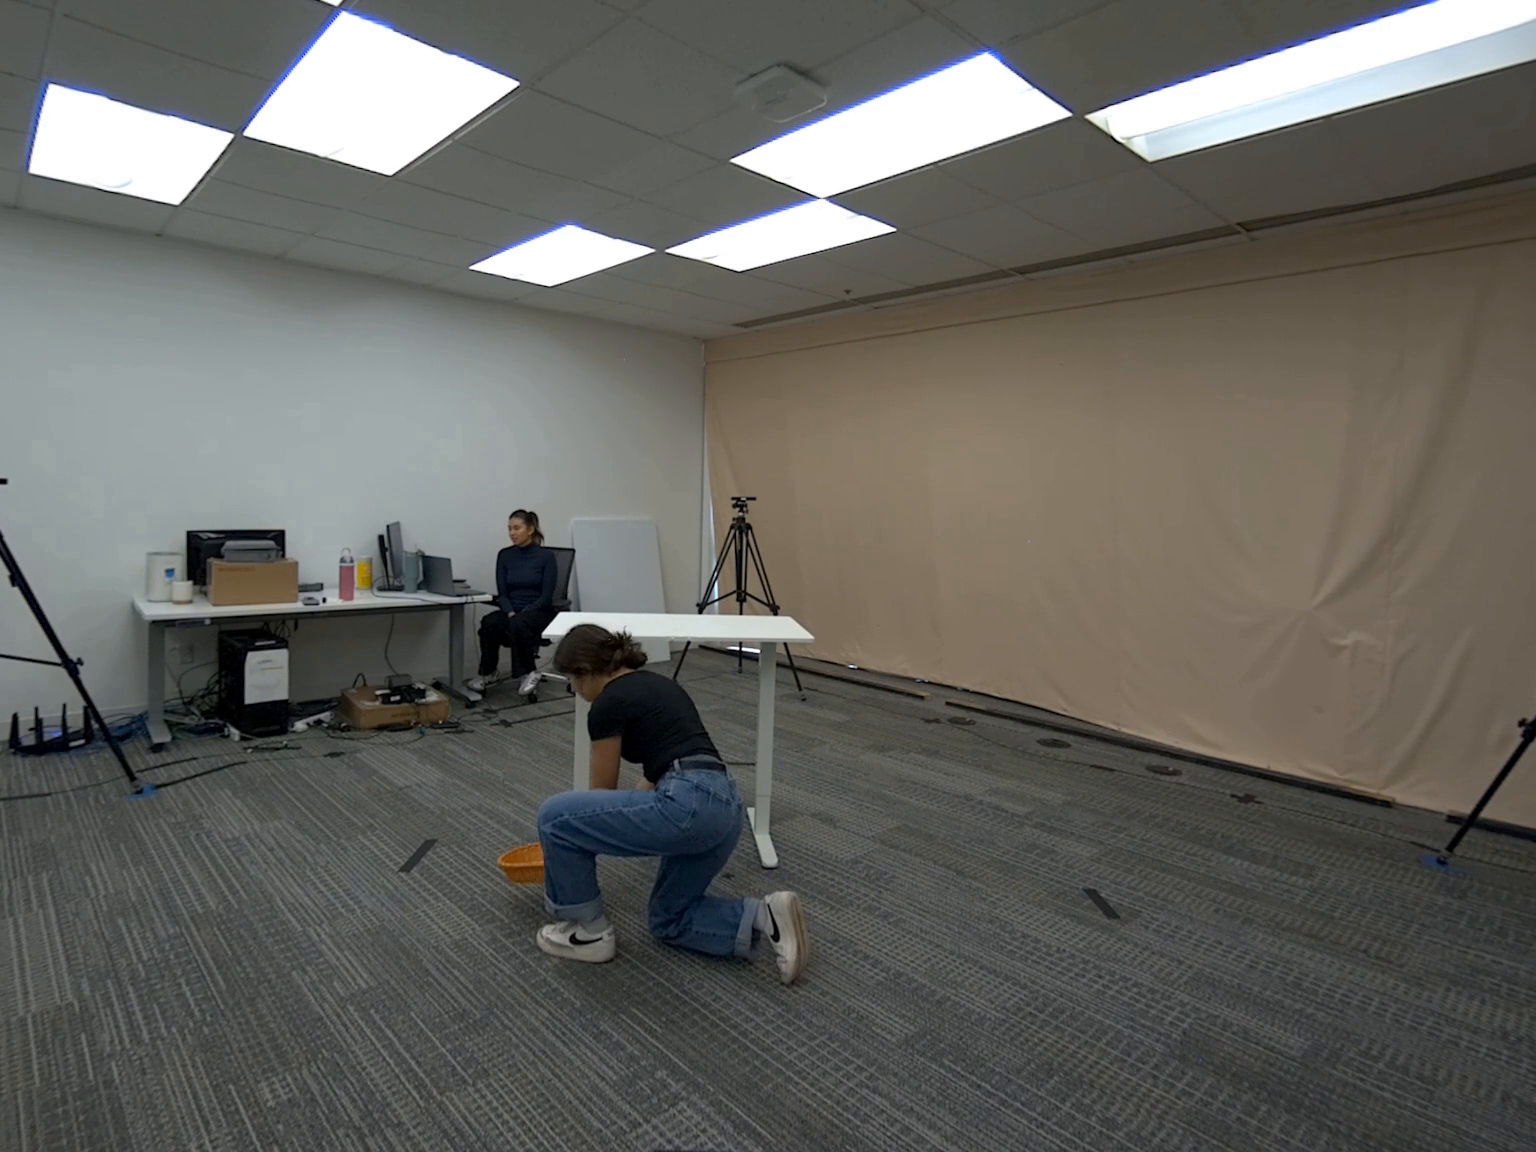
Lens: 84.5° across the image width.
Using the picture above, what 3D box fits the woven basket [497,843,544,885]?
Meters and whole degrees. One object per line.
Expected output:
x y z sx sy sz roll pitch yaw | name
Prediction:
-0.751 0.971 2.806 0.354 0.073 0.249 -8 0 15 | woven basket
